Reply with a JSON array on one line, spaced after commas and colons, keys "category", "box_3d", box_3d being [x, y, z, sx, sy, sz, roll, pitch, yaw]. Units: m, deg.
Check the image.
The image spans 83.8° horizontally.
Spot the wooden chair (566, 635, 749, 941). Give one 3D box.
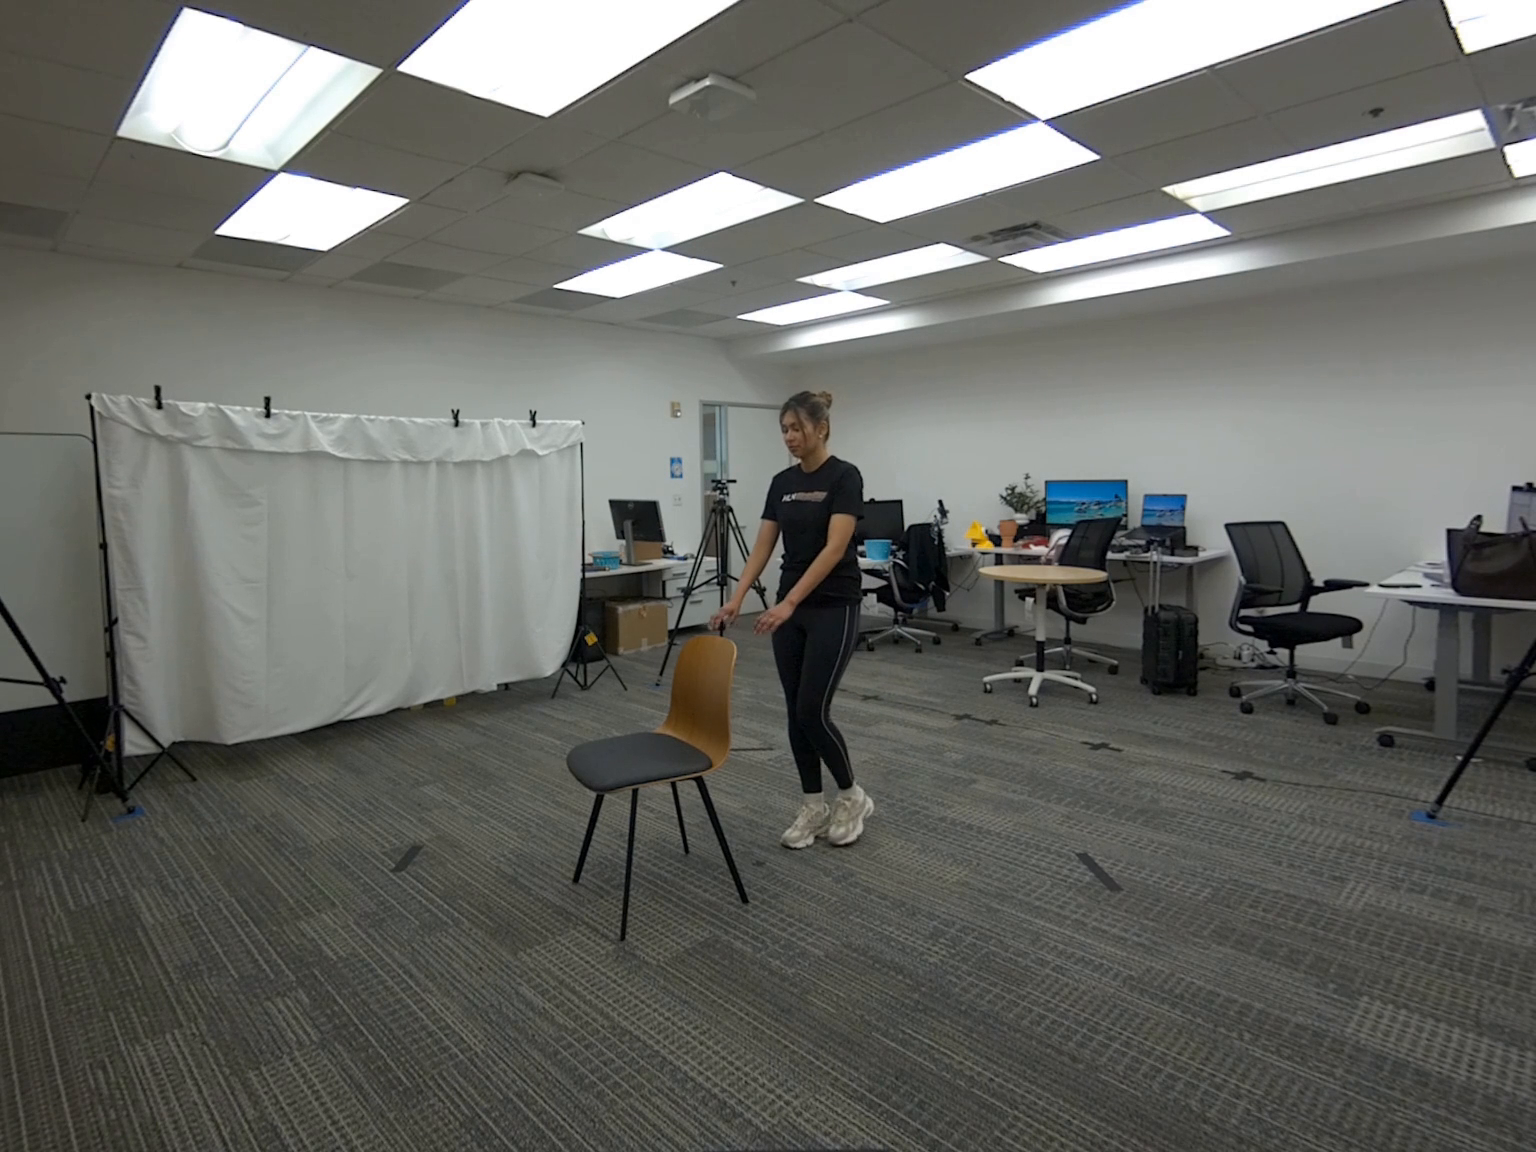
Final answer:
[{"category": "wooden chair", "box_3d": [-0.386, 0.655, 2.864, 0.510, 0.876, 0.491, 1, 3, -31]}]
